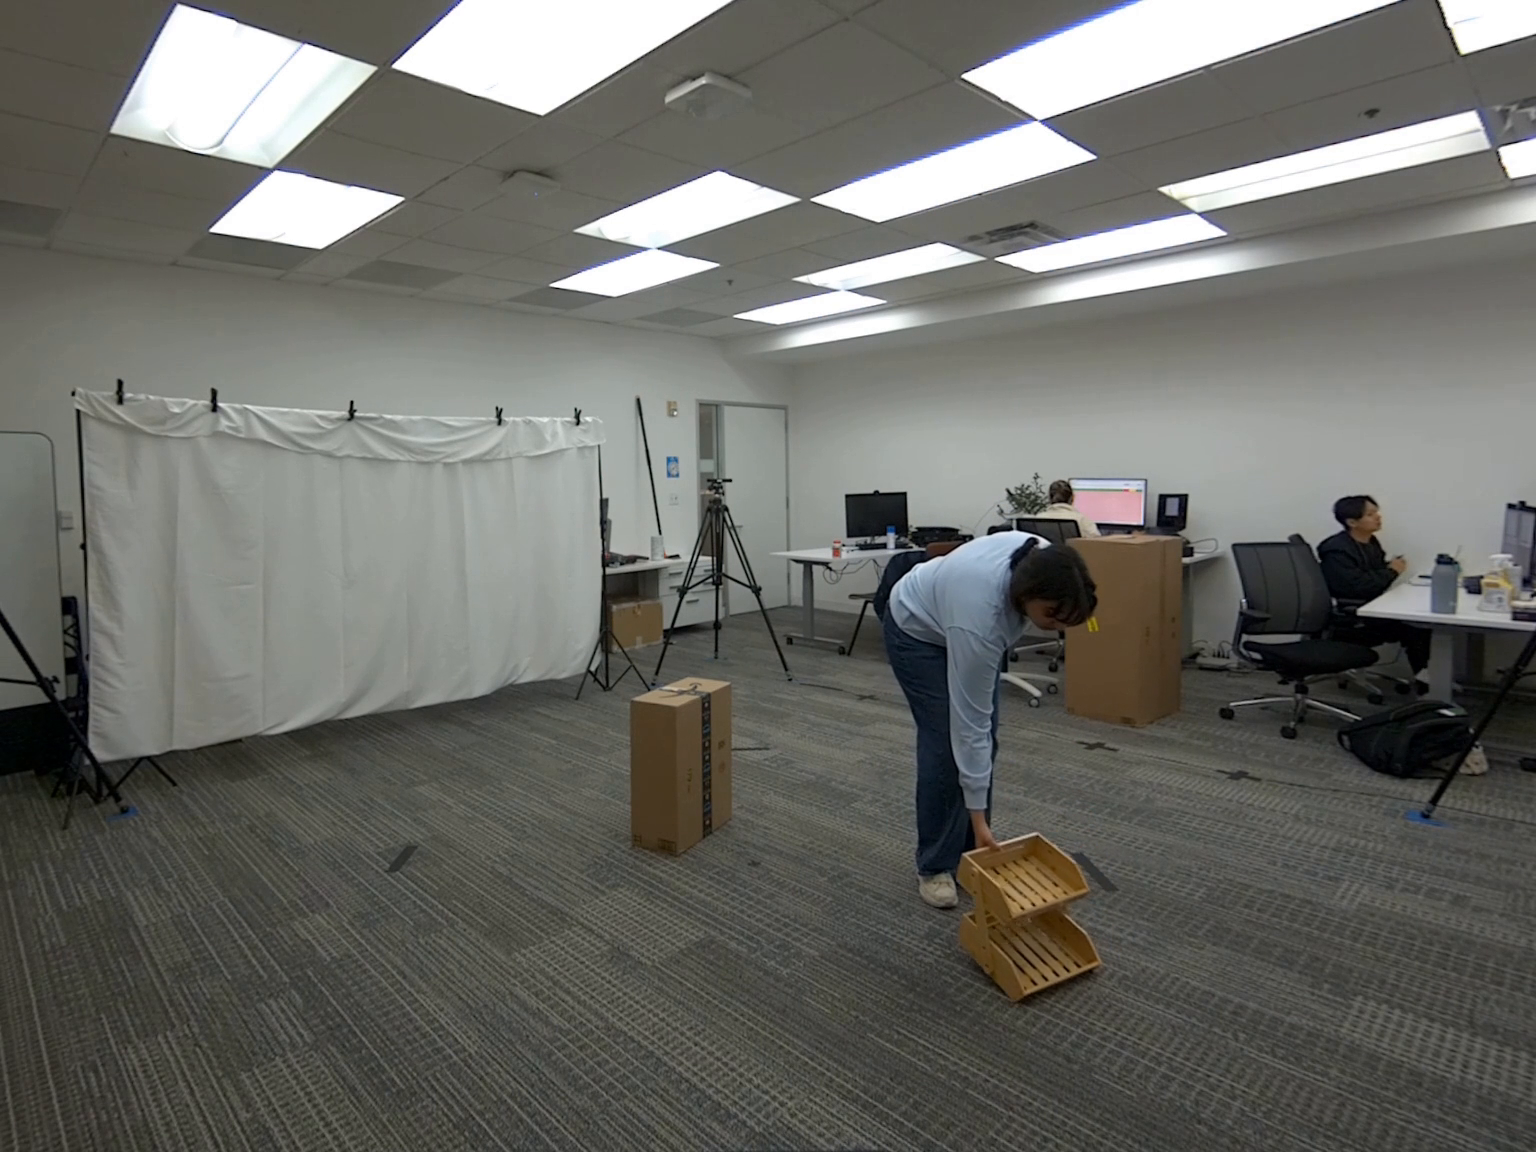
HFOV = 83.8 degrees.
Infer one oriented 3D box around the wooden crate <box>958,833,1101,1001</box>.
[{"bbox_3d":[0.750,0.957,2.391,0.317,0.269,0.313,-4,21,-30],"label":"wooden crate"}]
